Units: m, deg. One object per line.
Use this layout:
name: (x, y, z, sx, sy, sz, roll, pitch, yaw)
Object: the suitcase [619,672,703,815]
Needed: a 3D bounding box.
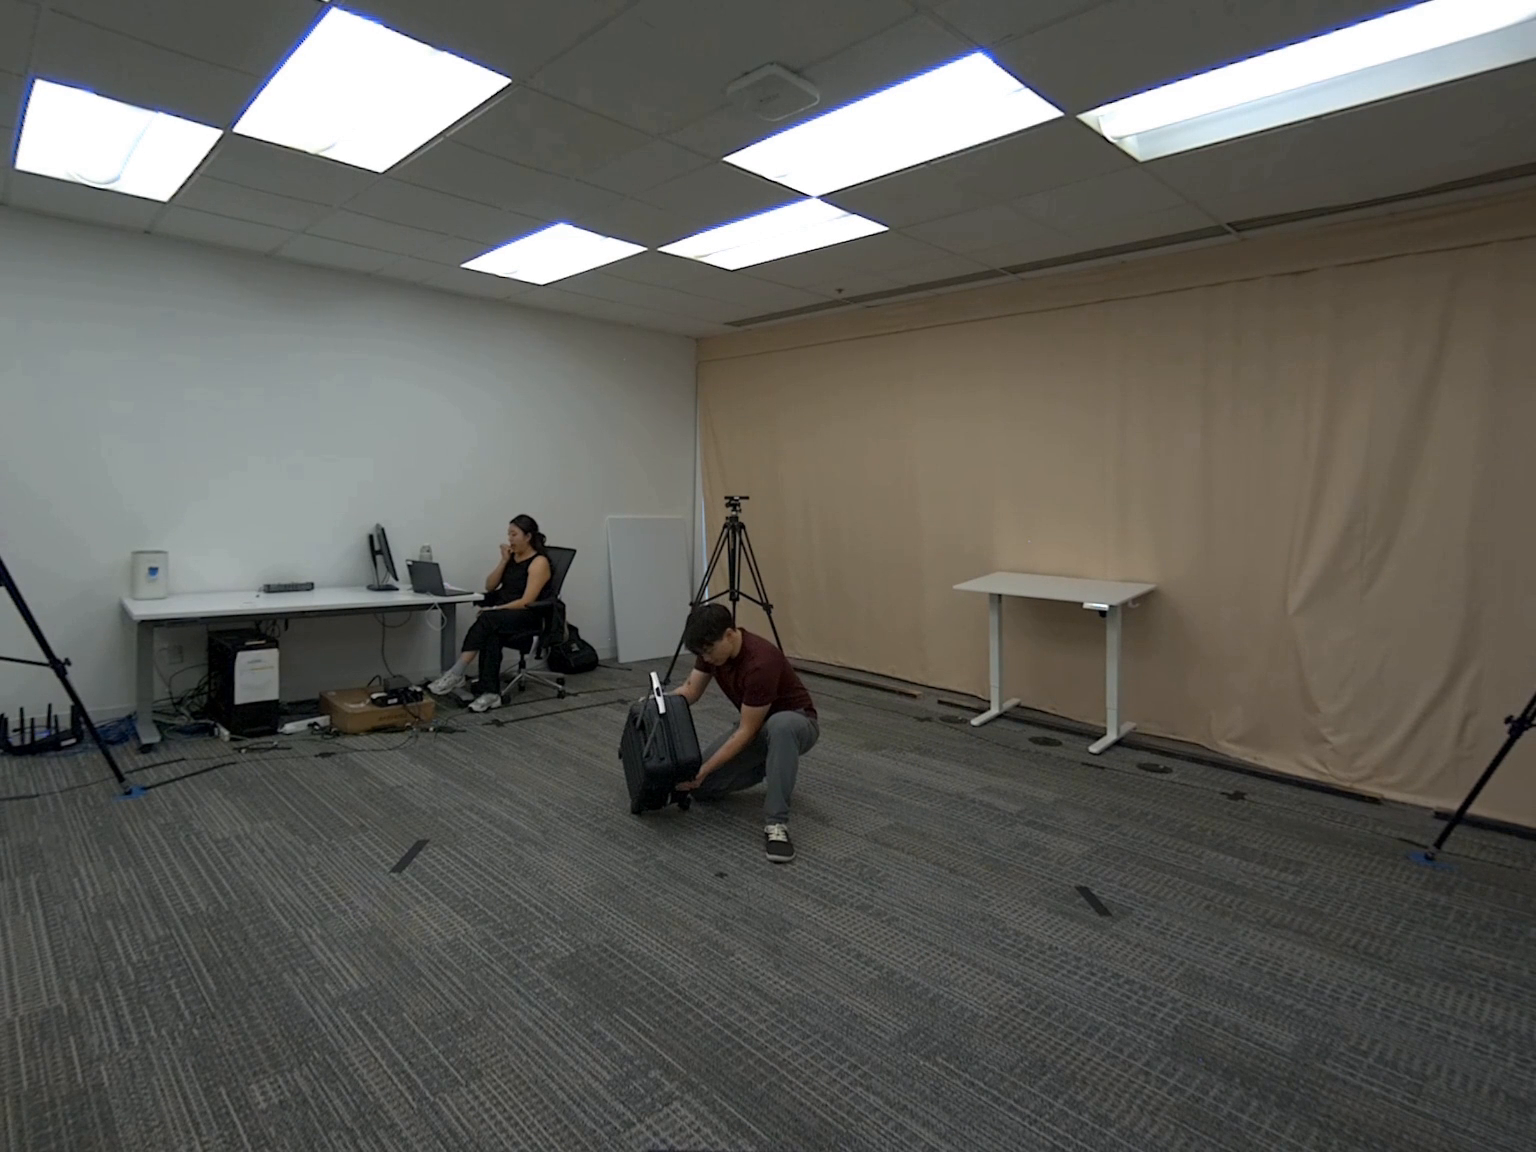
suitcase: (-0.426, 0.653, 3.424, 0.253, 0.393, 0.968, -6, -30, -20)
